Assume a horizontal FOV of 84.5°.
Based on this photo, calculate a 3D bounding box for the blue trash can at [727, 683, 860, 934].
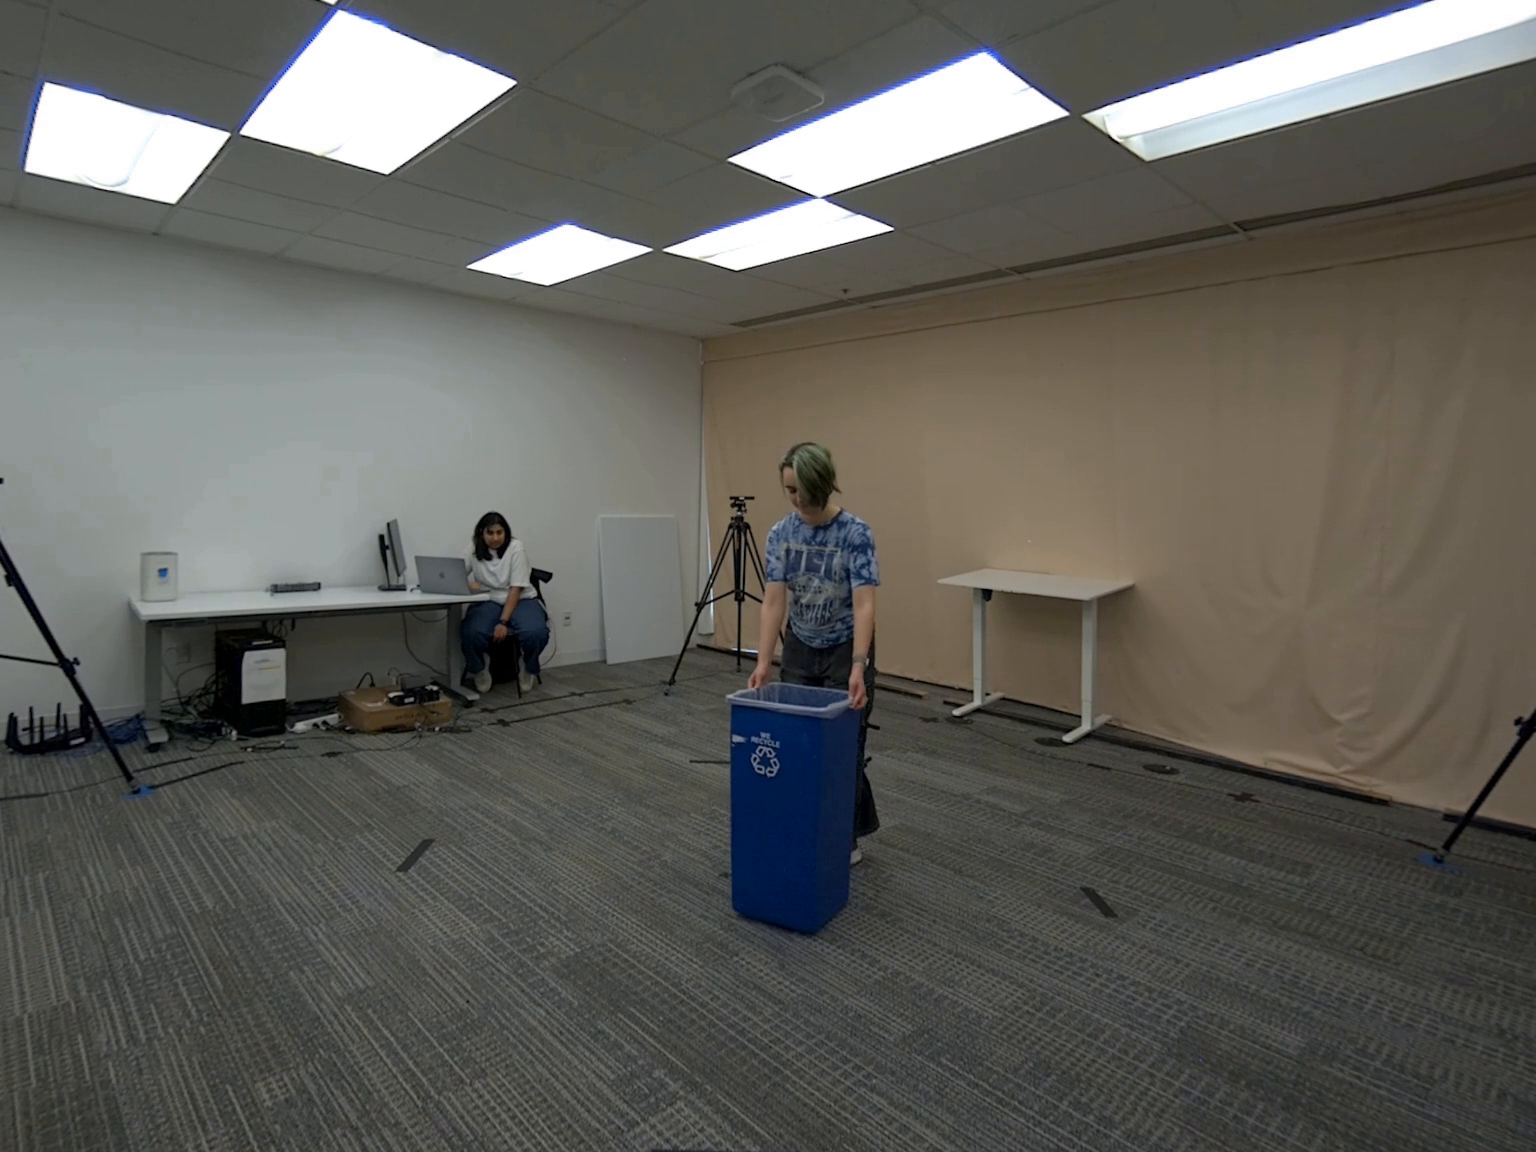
[{"bbox_3d":[0.081,0.759,2.855,0.382,0.713,0.370,1,1,30],"label":"blue trash can"}]
